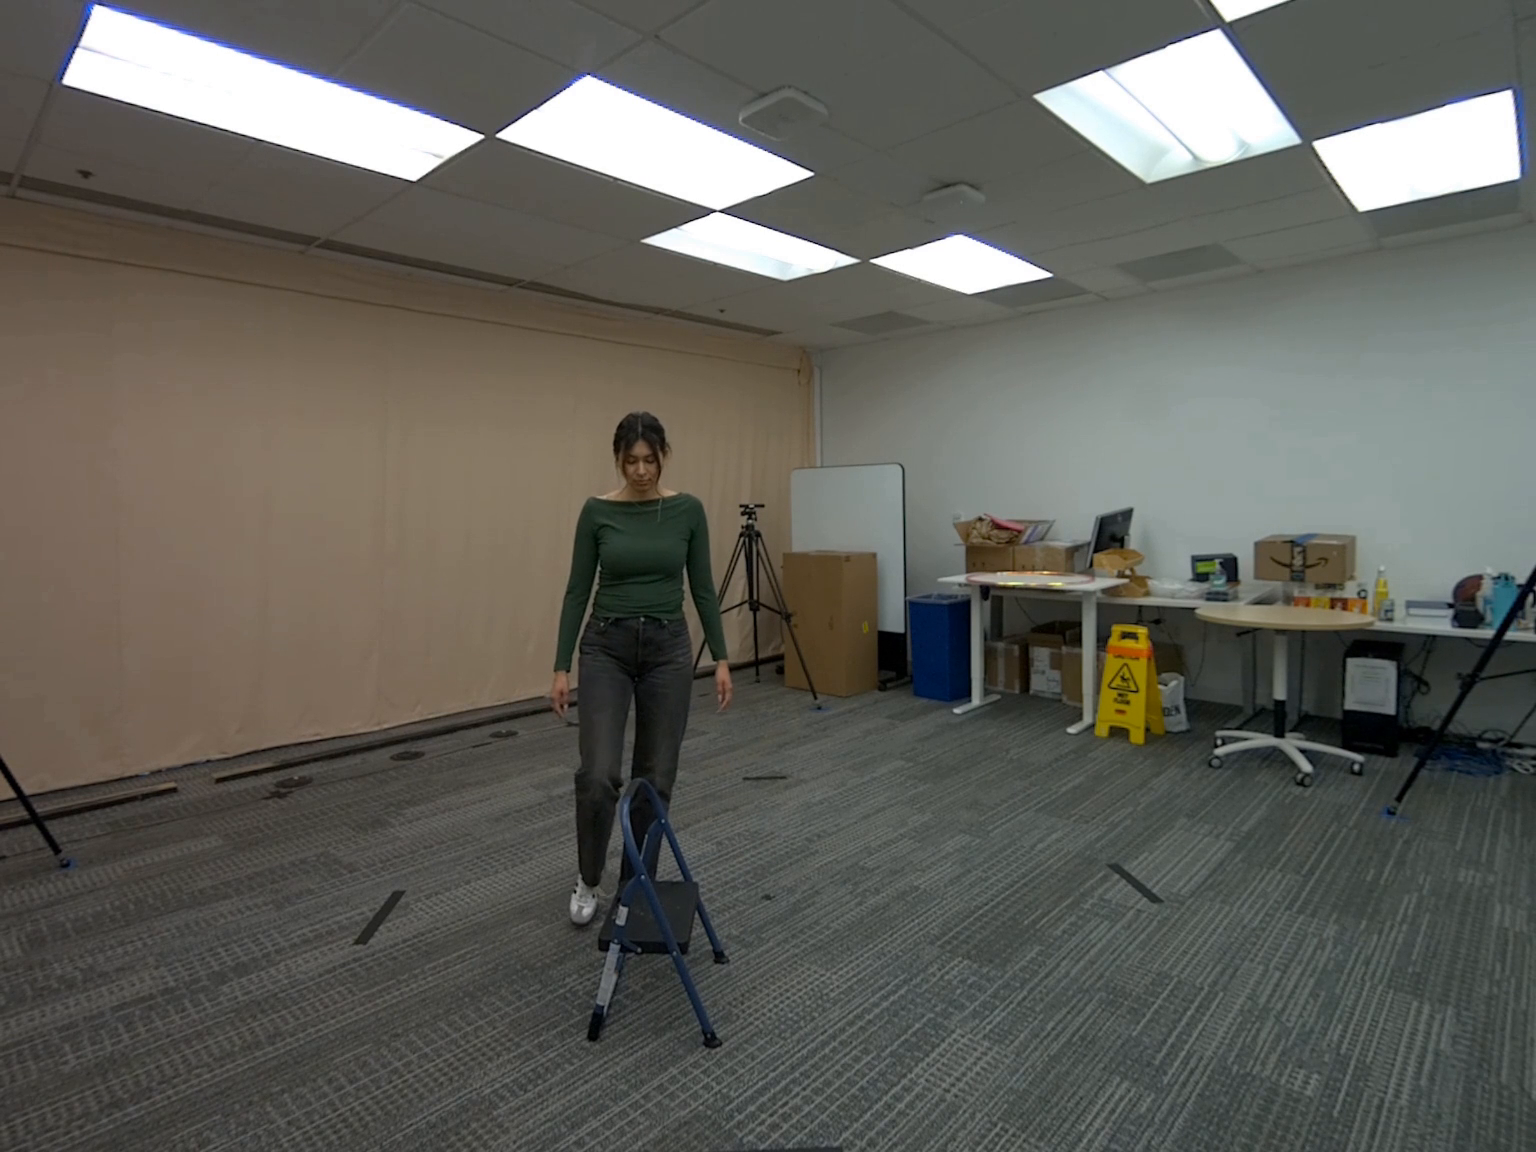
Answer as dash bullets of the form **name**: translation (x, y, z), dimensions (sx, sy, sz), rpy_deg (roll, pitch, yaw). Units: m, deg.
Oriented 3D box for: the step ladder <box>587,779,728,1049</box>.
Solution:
- **step ladder**: translation (-0.300, 0.899, 2.369), dimensions (0.350, 0.605, 0.430), rpy_deg (-1, 3, 1)
